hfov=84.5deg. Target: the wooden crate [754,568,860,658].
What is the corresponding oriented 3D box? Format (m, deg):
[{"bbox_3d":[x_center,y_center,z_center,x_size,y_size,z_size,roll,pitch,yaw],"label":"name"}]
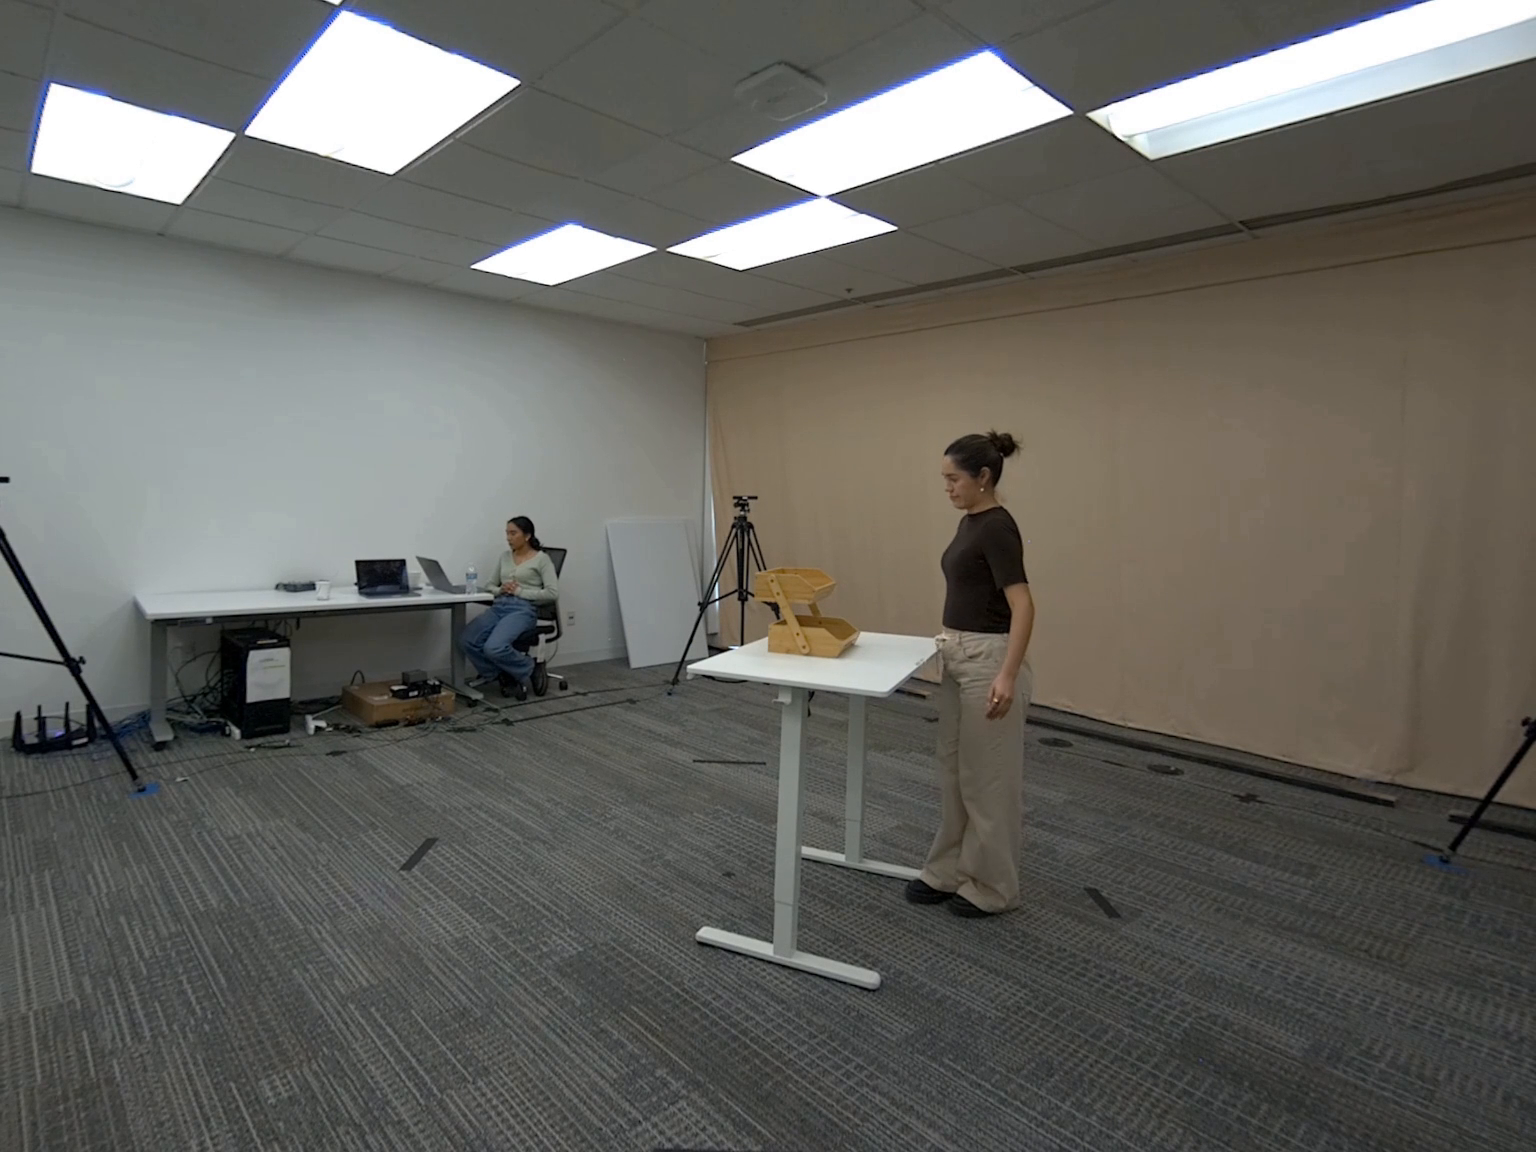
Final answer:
[{"bbox_3d":[0.144,0.115,2.879,0.306,0.273,0.320,3,4,18],"label":"wooden crate"}]
